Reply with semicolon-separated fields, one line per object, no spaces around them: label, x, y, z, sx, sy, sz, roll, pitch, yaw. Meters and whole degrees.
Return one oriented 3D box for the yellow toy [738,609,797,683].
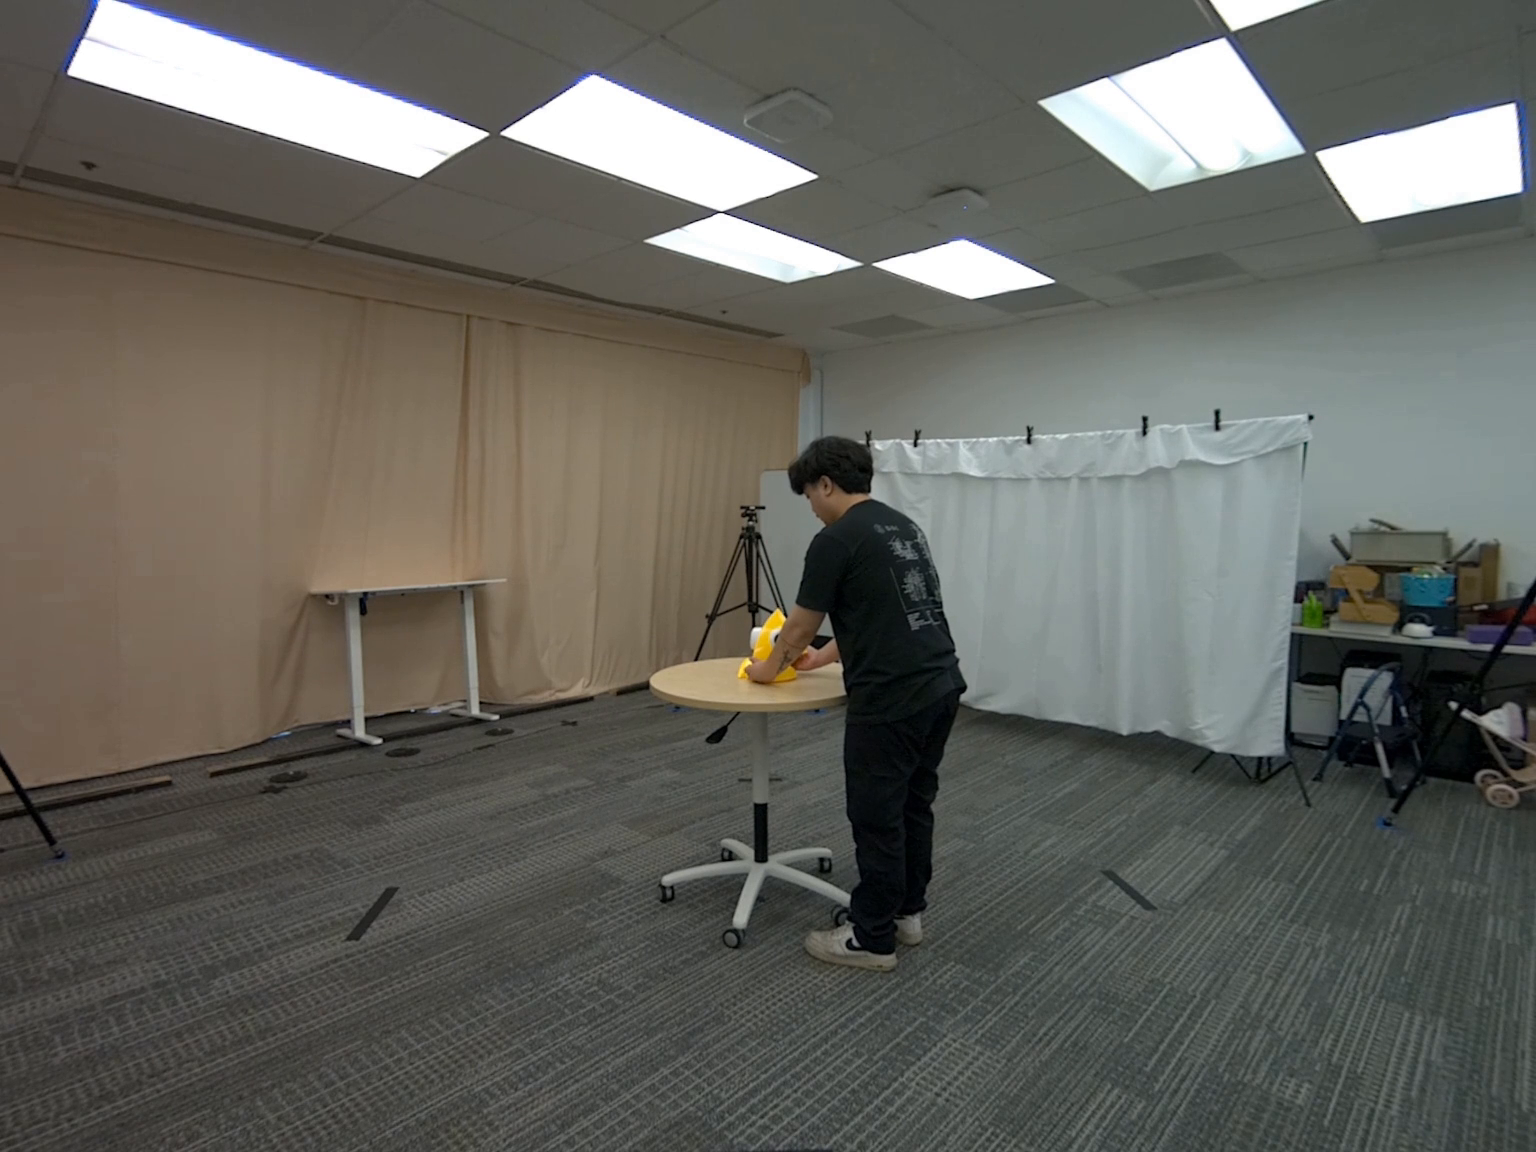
yellow toy;0.000;0.236;2.938;0.211;0.230;0.187;1;4;41
